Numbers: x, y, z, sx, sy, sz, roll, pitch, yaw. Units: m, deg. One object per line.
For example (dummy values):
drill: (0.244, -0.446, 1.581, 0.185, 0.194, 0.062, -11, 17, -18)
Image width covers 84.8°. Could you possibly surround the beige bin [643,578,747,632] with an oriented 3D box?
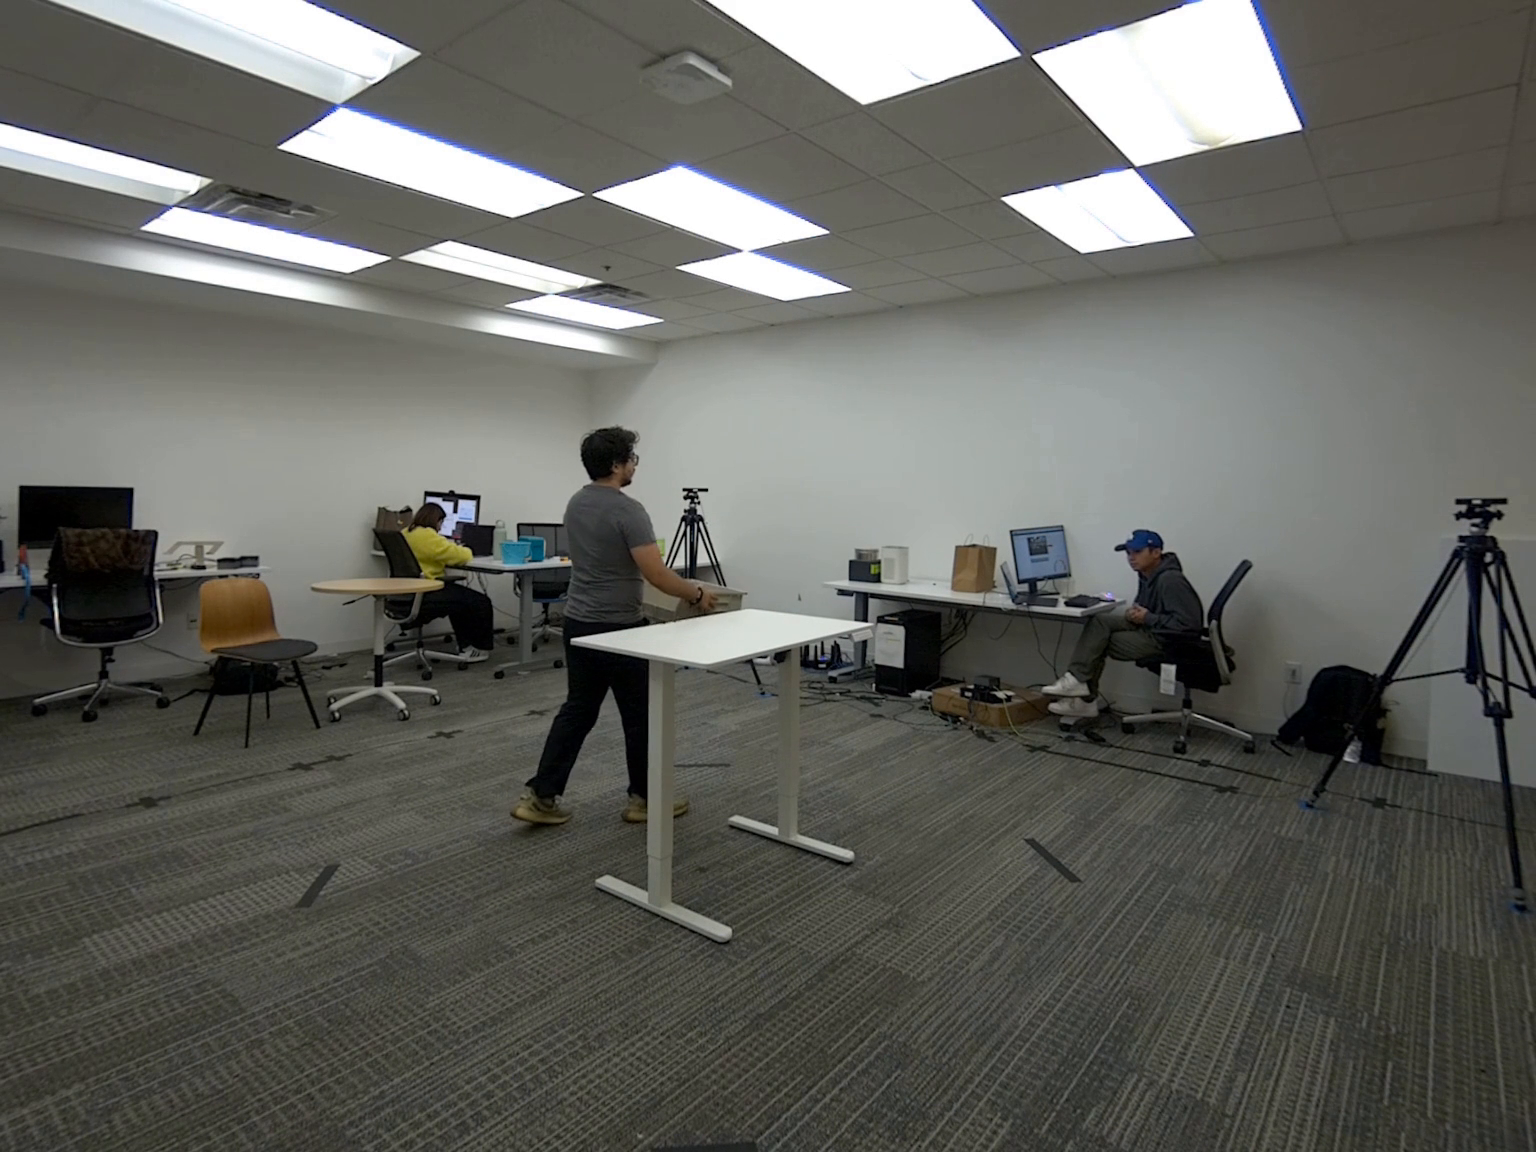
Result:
beige bin: (-0.389, 0.117, 3.818, 0.365, 0.189, 0.437, 5, 2, -38)
